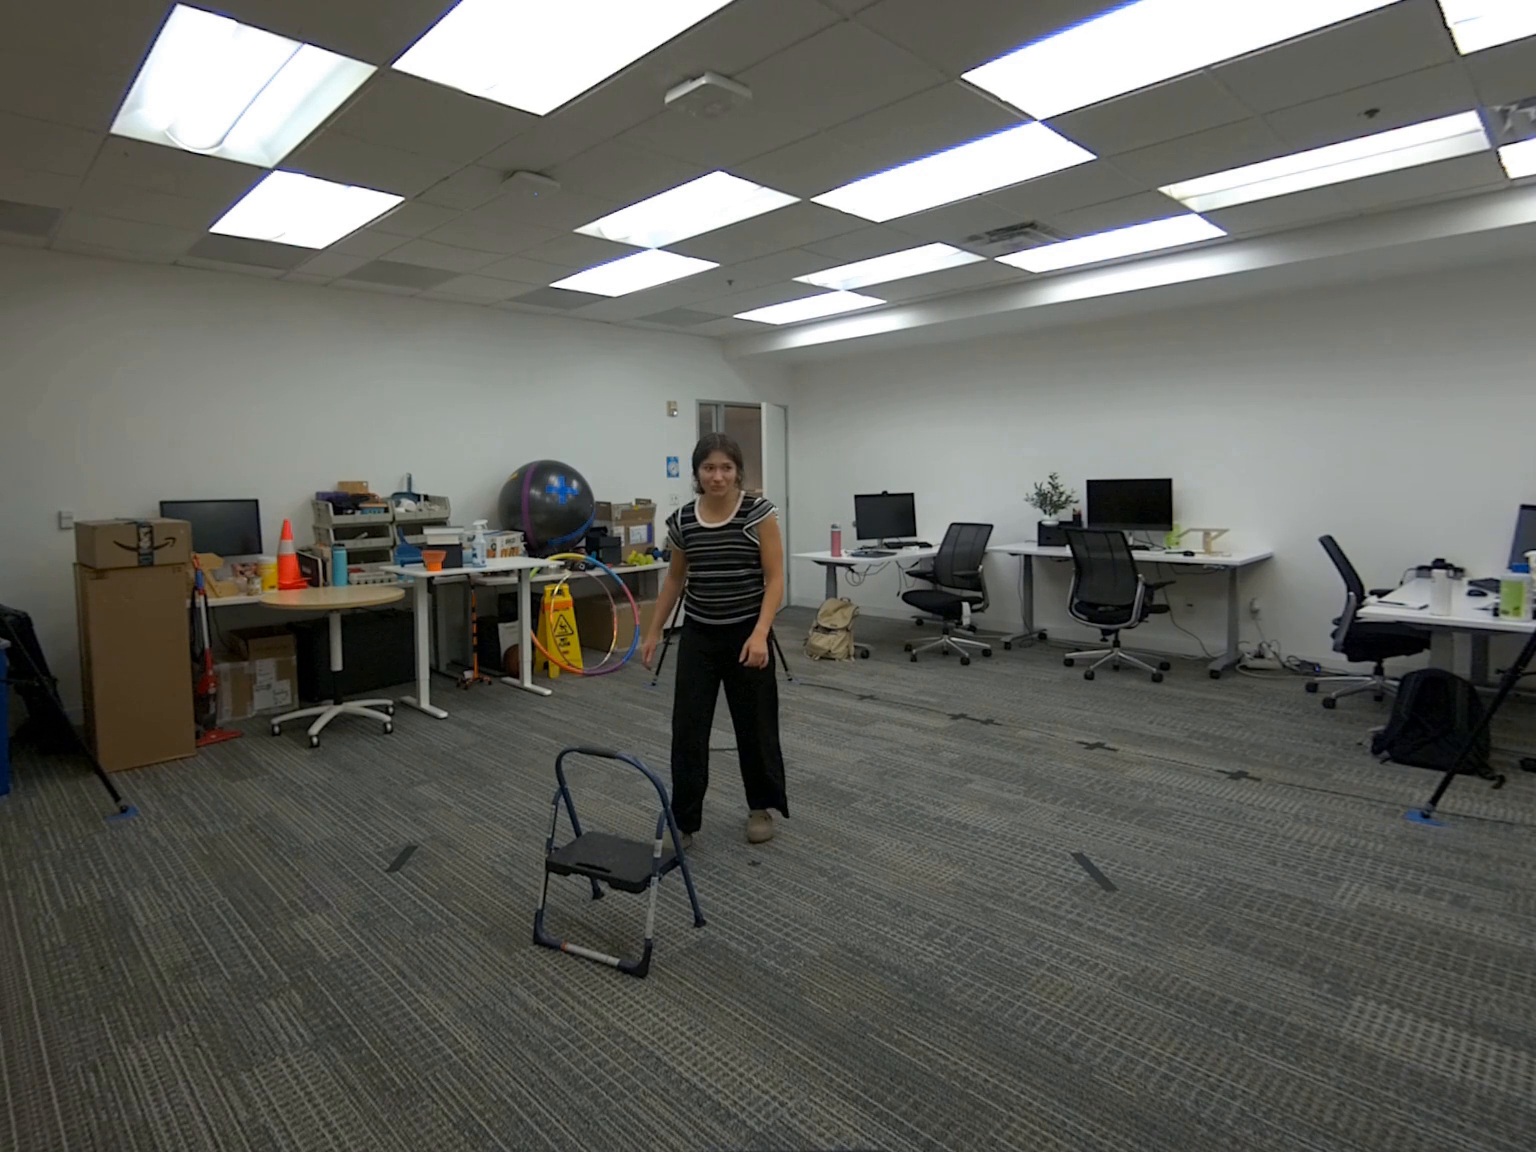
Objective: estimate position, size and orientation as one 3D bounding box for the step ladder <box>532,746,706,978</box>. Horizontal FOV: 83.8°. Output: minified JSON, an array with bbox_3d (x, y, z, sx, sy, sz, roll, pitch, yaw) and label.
[{"bbox_3d":[-0.465,0.807,2.628,0.441,0.604,0.342,1,5,27],"label":"step ladder"}]
